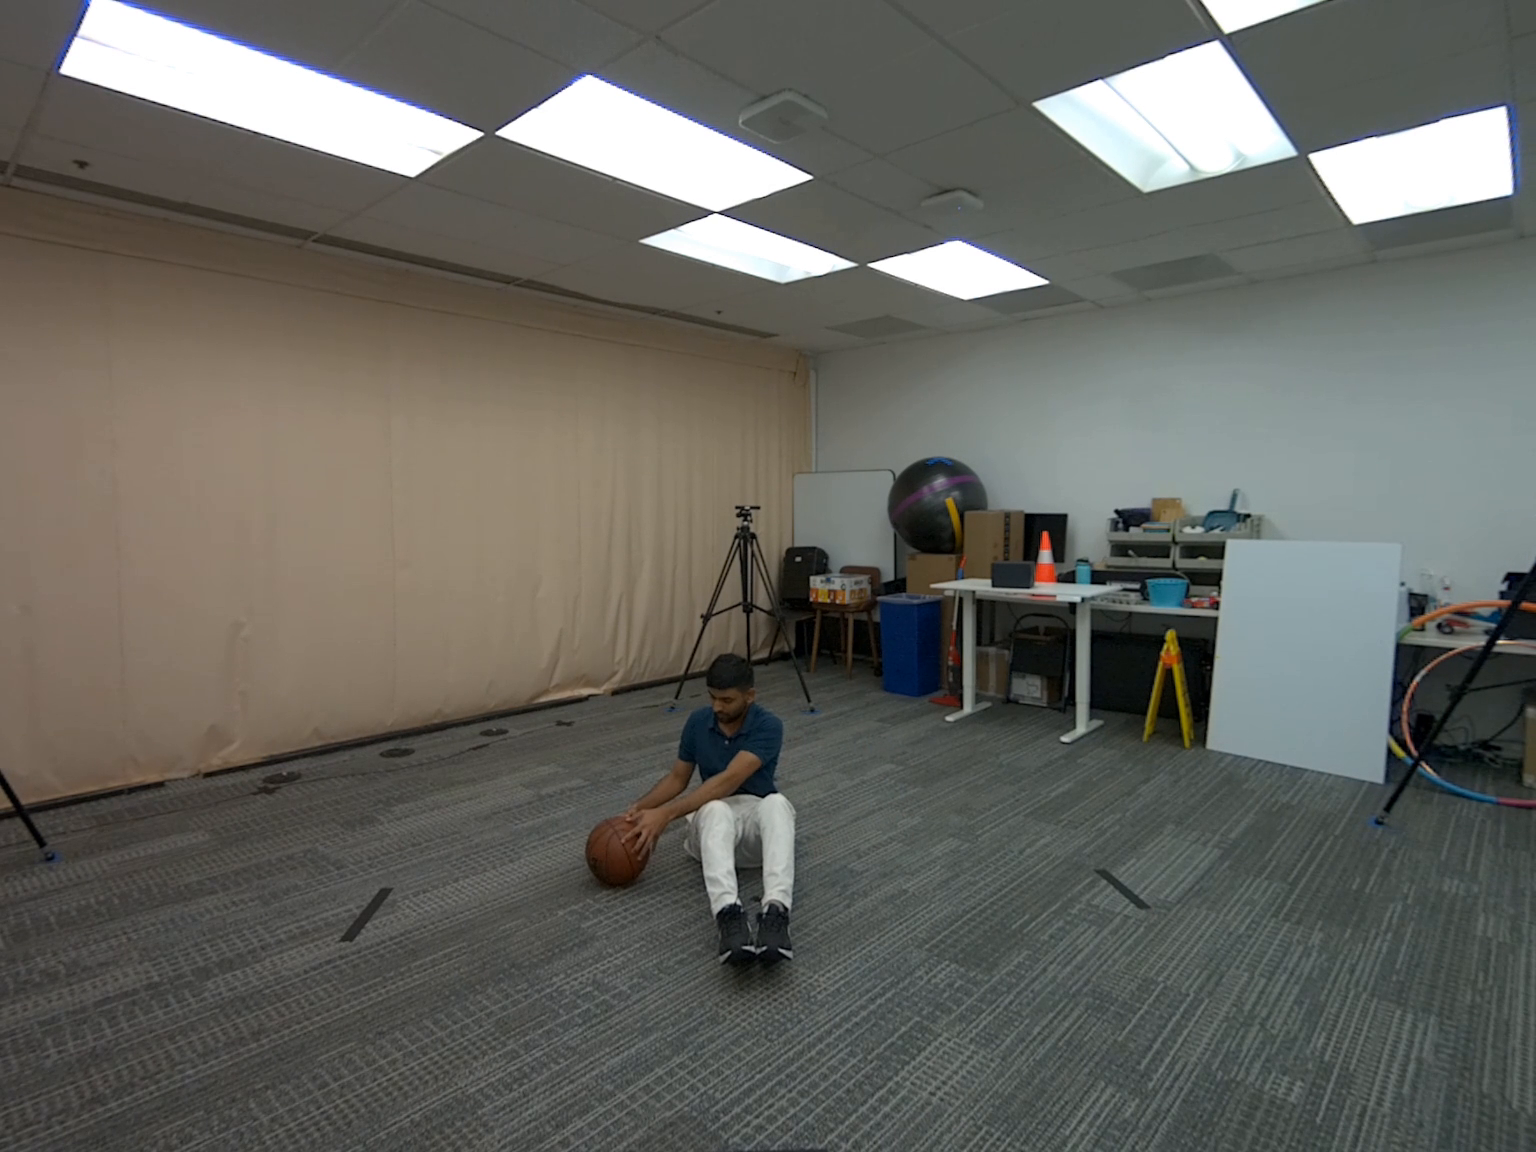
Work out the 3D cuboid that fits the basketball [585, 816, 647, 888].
[{"bbox_3d":[-0.559,1.005,3.115,0.236,0.235,0.237,0,4,-2],"label":"basketball"}]
